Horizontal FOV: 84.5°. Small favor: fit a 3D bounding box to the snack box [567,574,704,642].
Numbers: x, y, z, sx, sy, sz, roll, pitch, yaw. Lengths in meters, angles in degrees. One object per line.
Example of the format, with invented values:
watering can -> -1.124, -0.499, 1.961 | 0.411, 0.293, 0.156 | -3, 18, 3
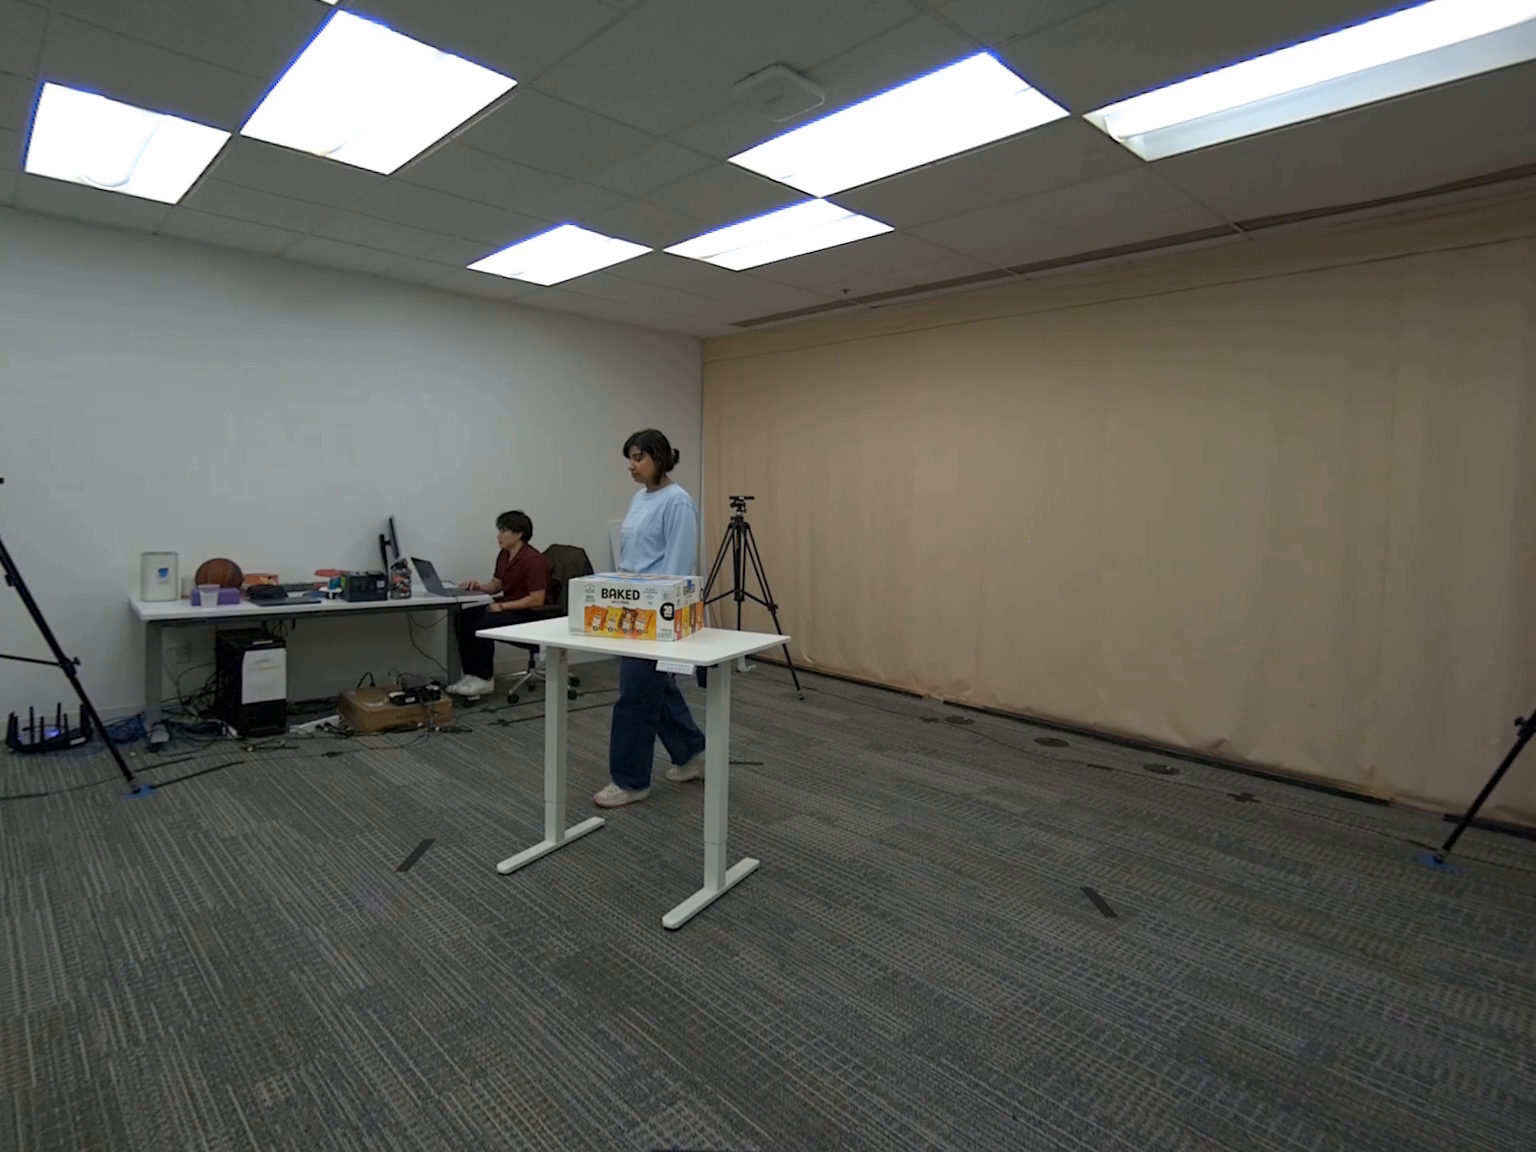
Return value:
snack box -> -0.496, 0.108, 3.151 | 0.410, 0.205, 0.337 | 2, 4, 14
